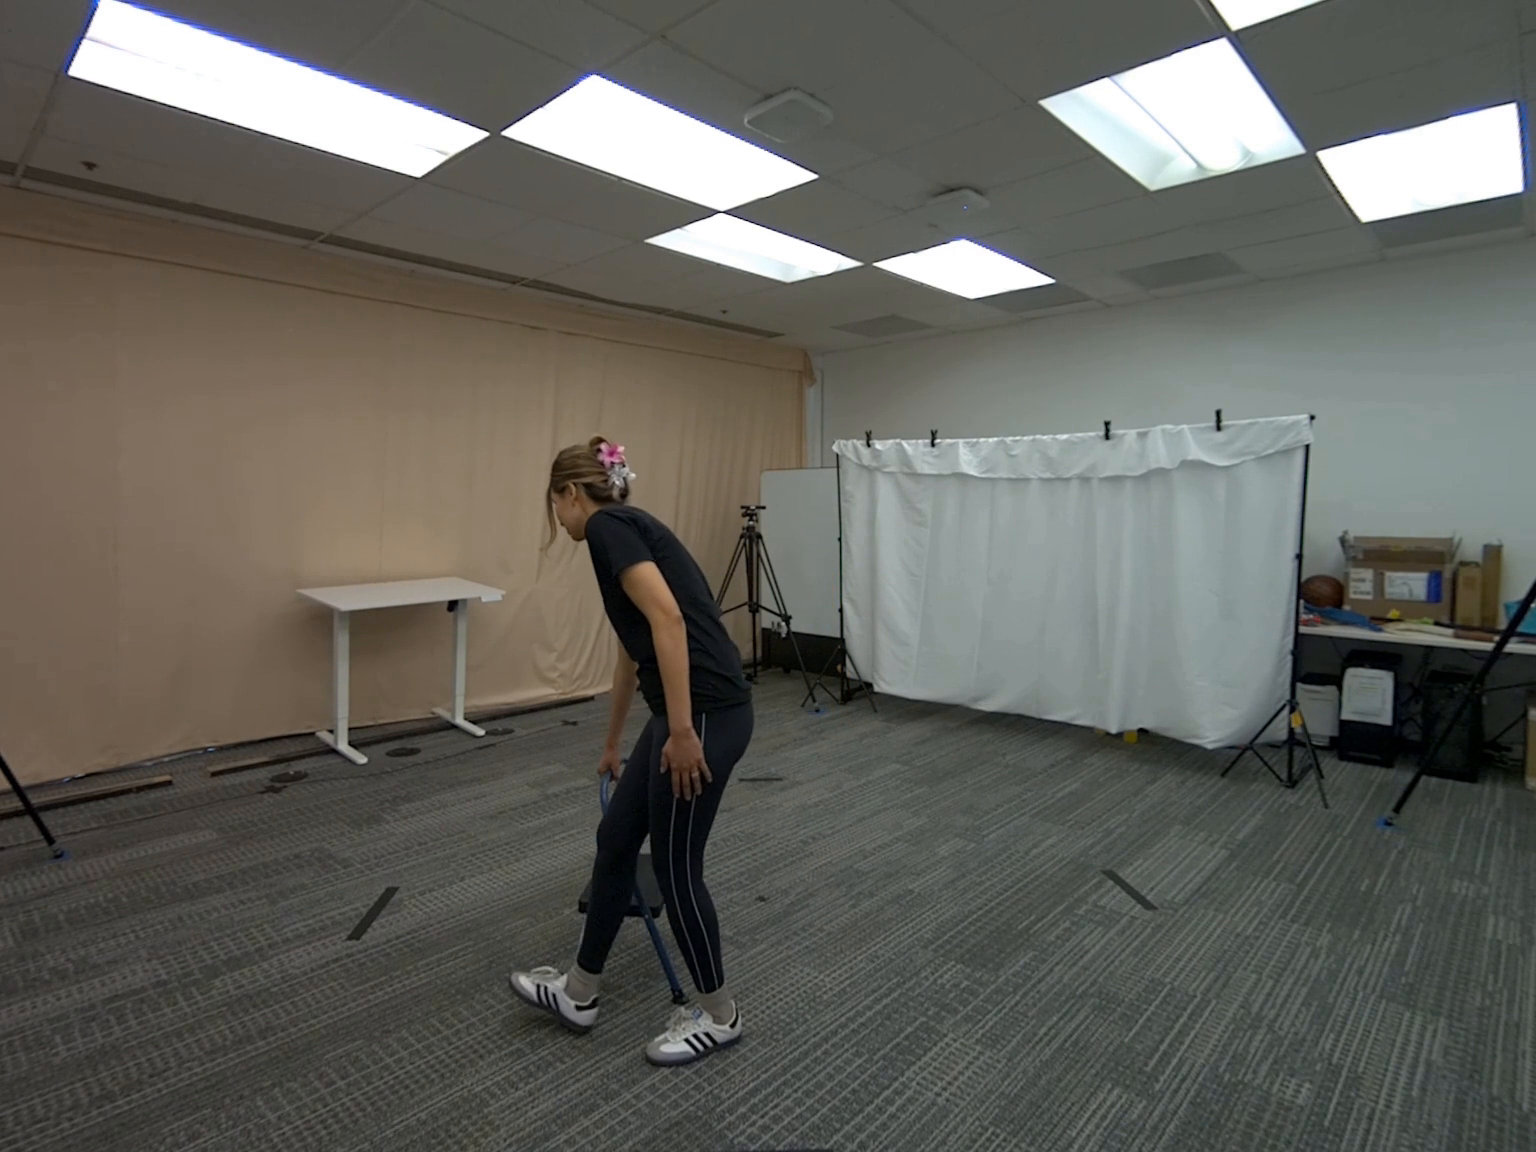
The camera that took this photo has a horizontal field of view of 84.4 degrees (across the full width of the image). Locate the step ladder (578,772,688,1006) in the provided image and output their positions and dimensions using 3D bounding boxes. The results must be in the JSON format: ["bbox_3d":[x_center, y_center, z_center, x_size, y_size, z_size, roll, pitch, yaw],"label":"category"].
[{"bbox_3d":[-0.397,0.889,2.568,0.351,0.605,0.430,1,3,2],"label":"step ladder"}]
